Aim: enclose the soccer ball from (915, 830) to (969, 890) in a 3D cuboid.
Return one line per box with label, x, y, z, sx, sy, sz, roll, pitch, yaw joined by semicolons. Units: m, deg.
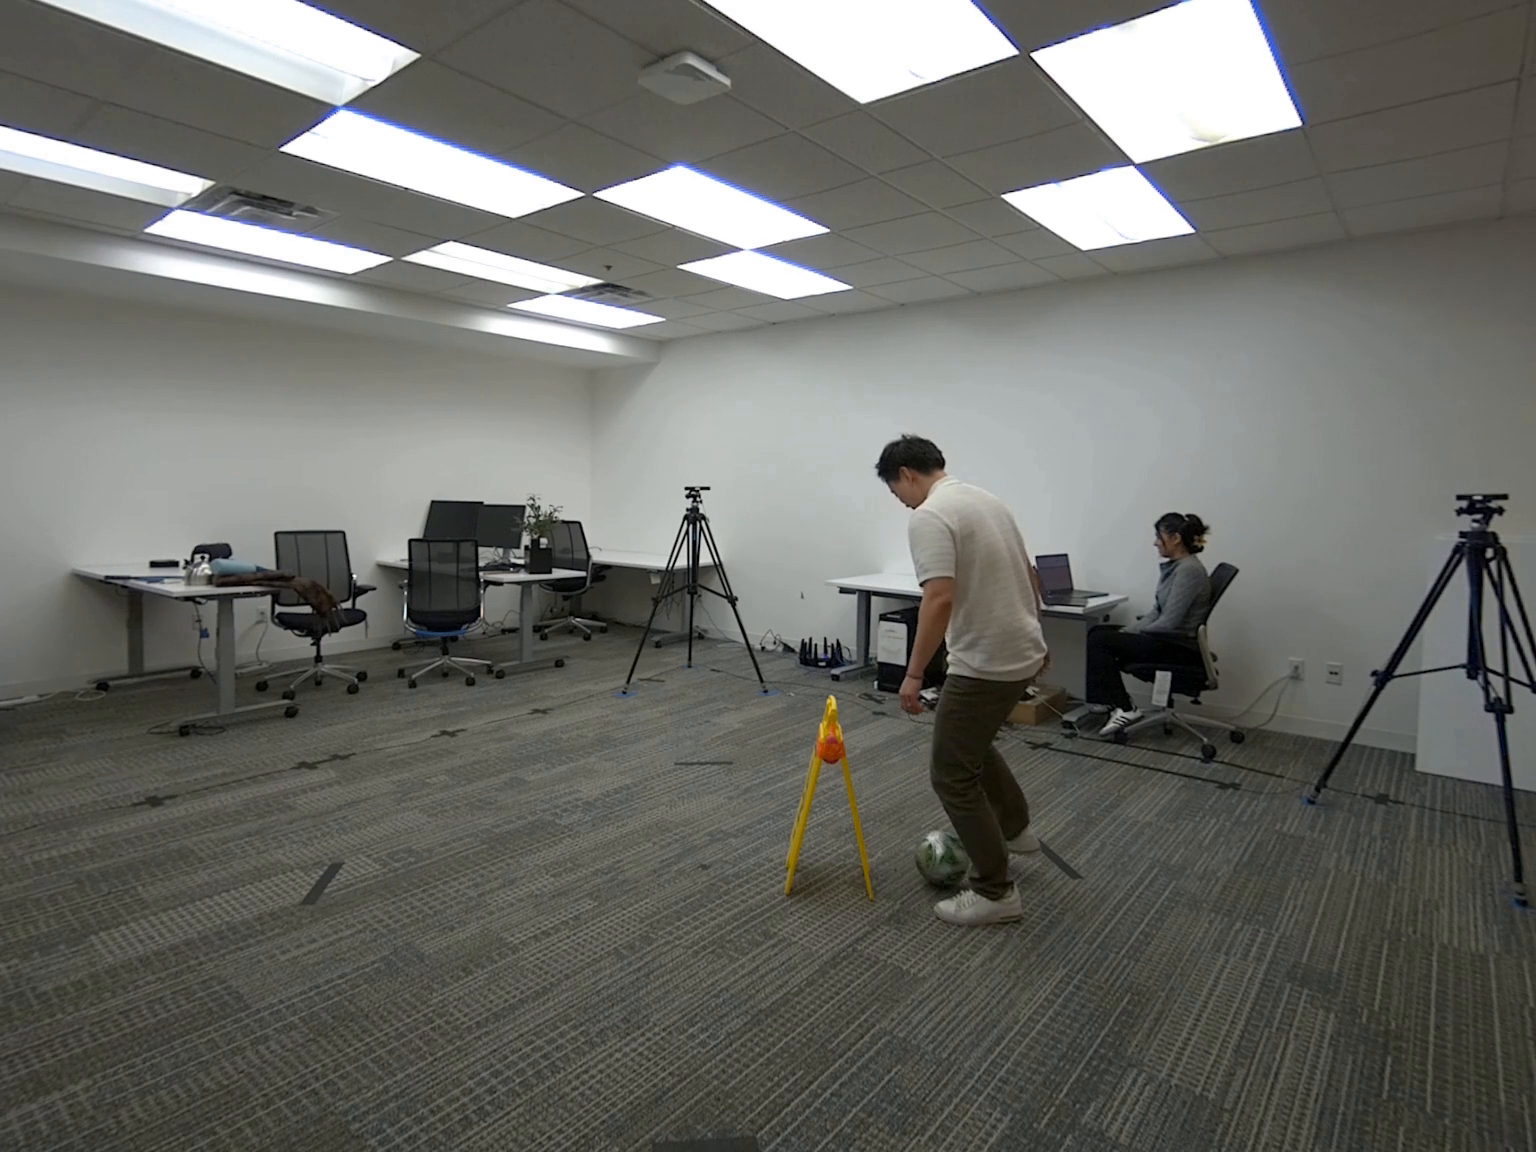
soccer ball;0.604;1.004;3.012;0.187;0.187;0.188;0;4;-2
